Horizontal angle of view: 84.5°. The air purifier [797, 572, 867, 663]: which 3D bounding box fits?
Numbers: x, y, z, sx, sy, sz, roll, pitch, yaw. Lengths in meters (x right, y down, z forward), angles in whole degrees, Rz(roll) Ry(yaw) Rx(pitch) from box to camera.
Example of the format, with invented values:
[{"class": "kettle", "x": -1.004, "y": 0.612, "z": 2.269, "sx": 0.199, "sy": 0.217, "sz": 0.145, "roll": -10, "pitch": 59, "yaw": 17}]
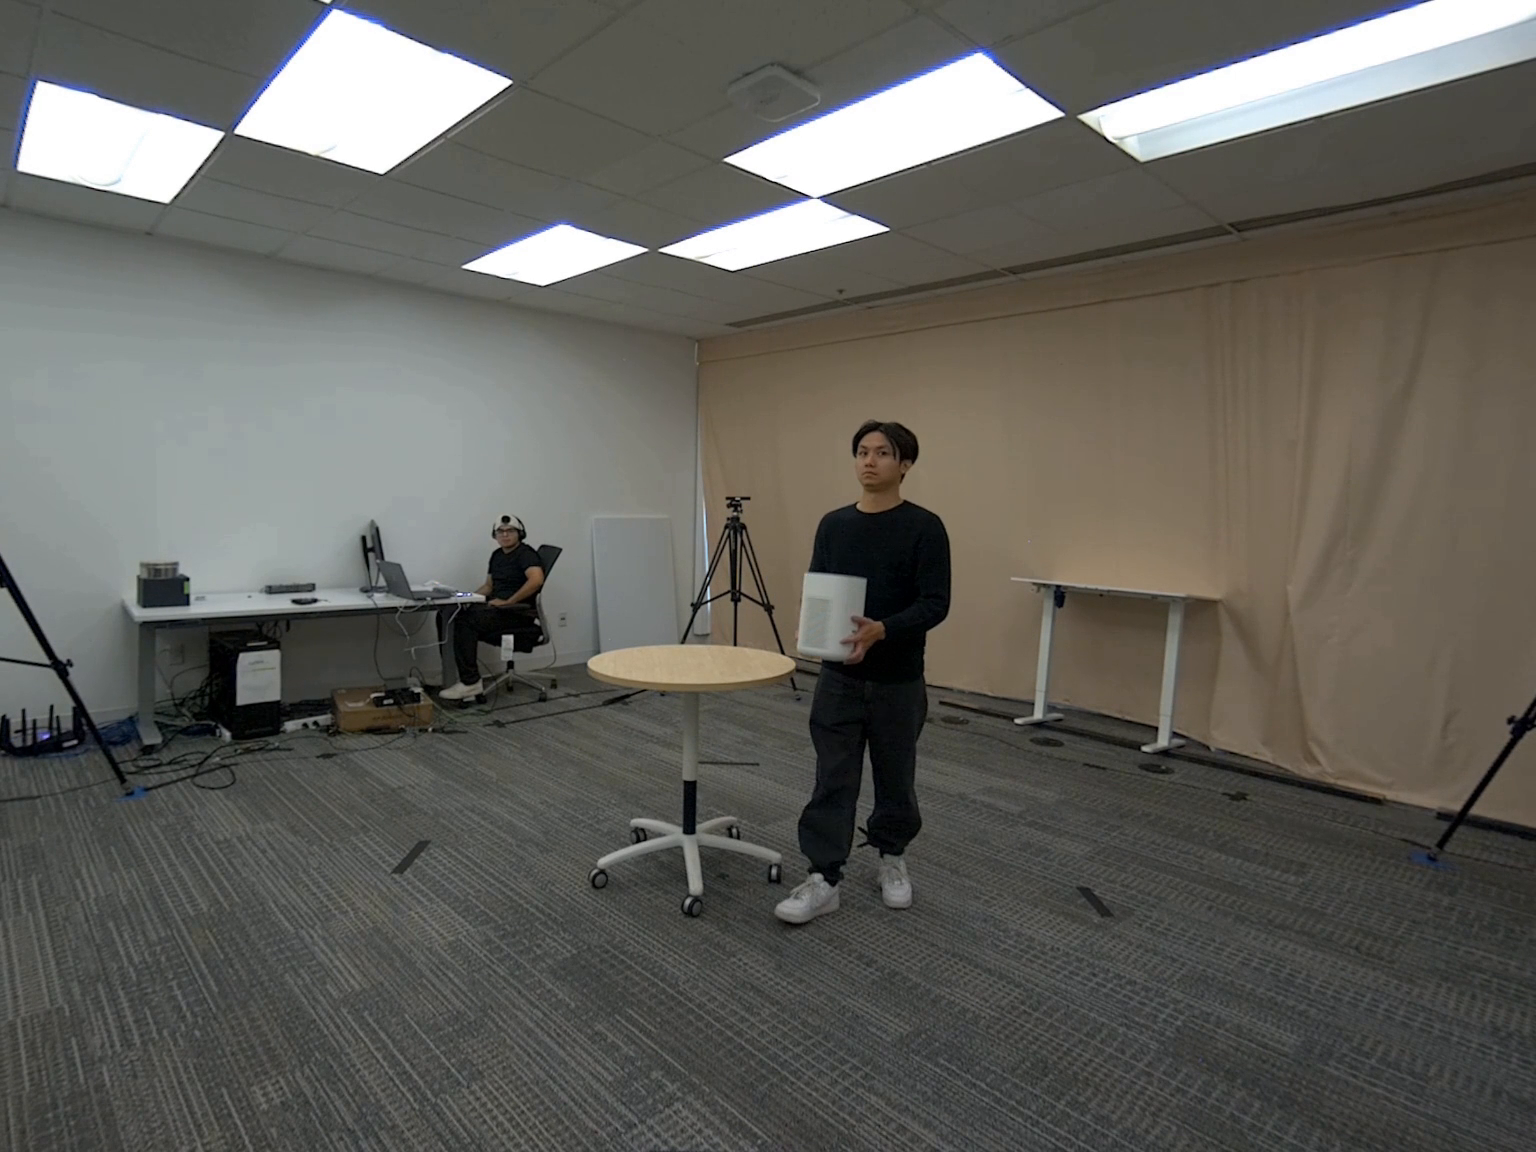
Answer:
[{"class": "air purifier", "x": 0.193, "y": 0.128, "z": 2.641, "sx": 0.176, "sy": 0.266, "sz": 0.166, "roll": 4, "pitch": -3, "yaw": 38}]
